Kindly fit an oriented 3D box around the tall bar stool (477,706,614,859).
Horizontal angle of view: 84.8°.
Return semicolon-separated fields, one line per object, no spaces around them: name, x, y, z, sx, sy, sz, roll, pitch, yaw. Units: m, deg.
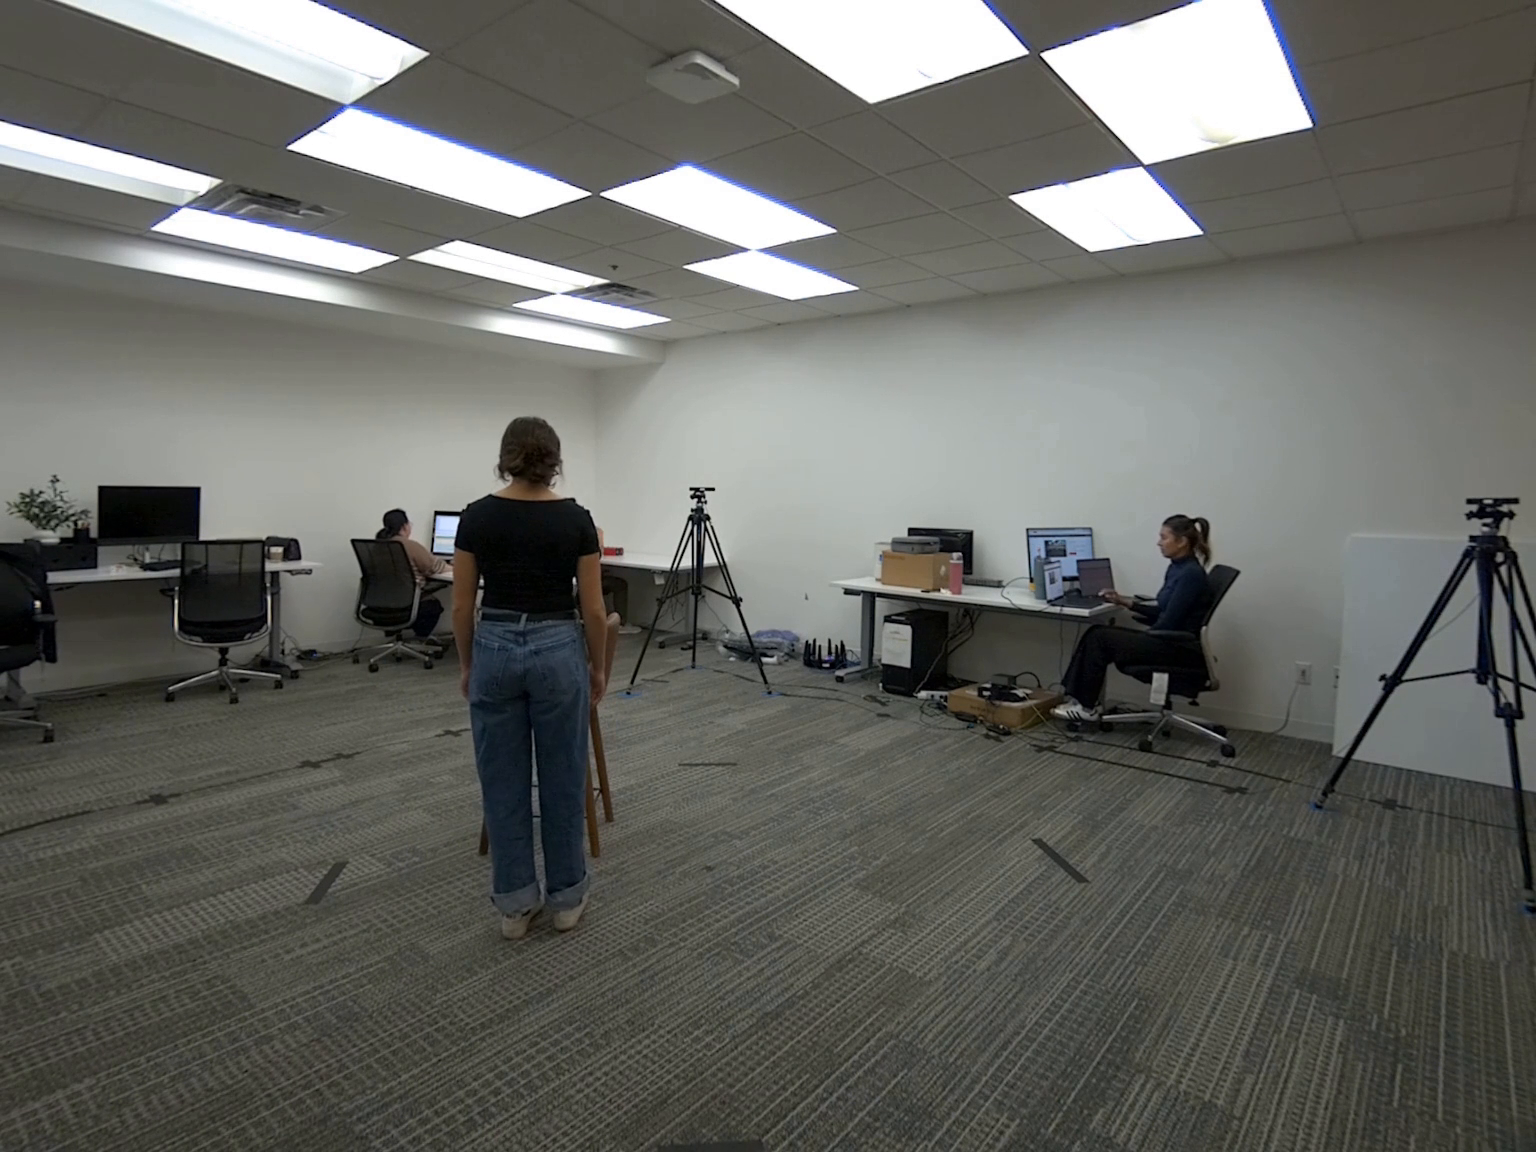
tall bar stool;-0.861;0.594;3.356;0.468;0.887;0.457;3;3;1
